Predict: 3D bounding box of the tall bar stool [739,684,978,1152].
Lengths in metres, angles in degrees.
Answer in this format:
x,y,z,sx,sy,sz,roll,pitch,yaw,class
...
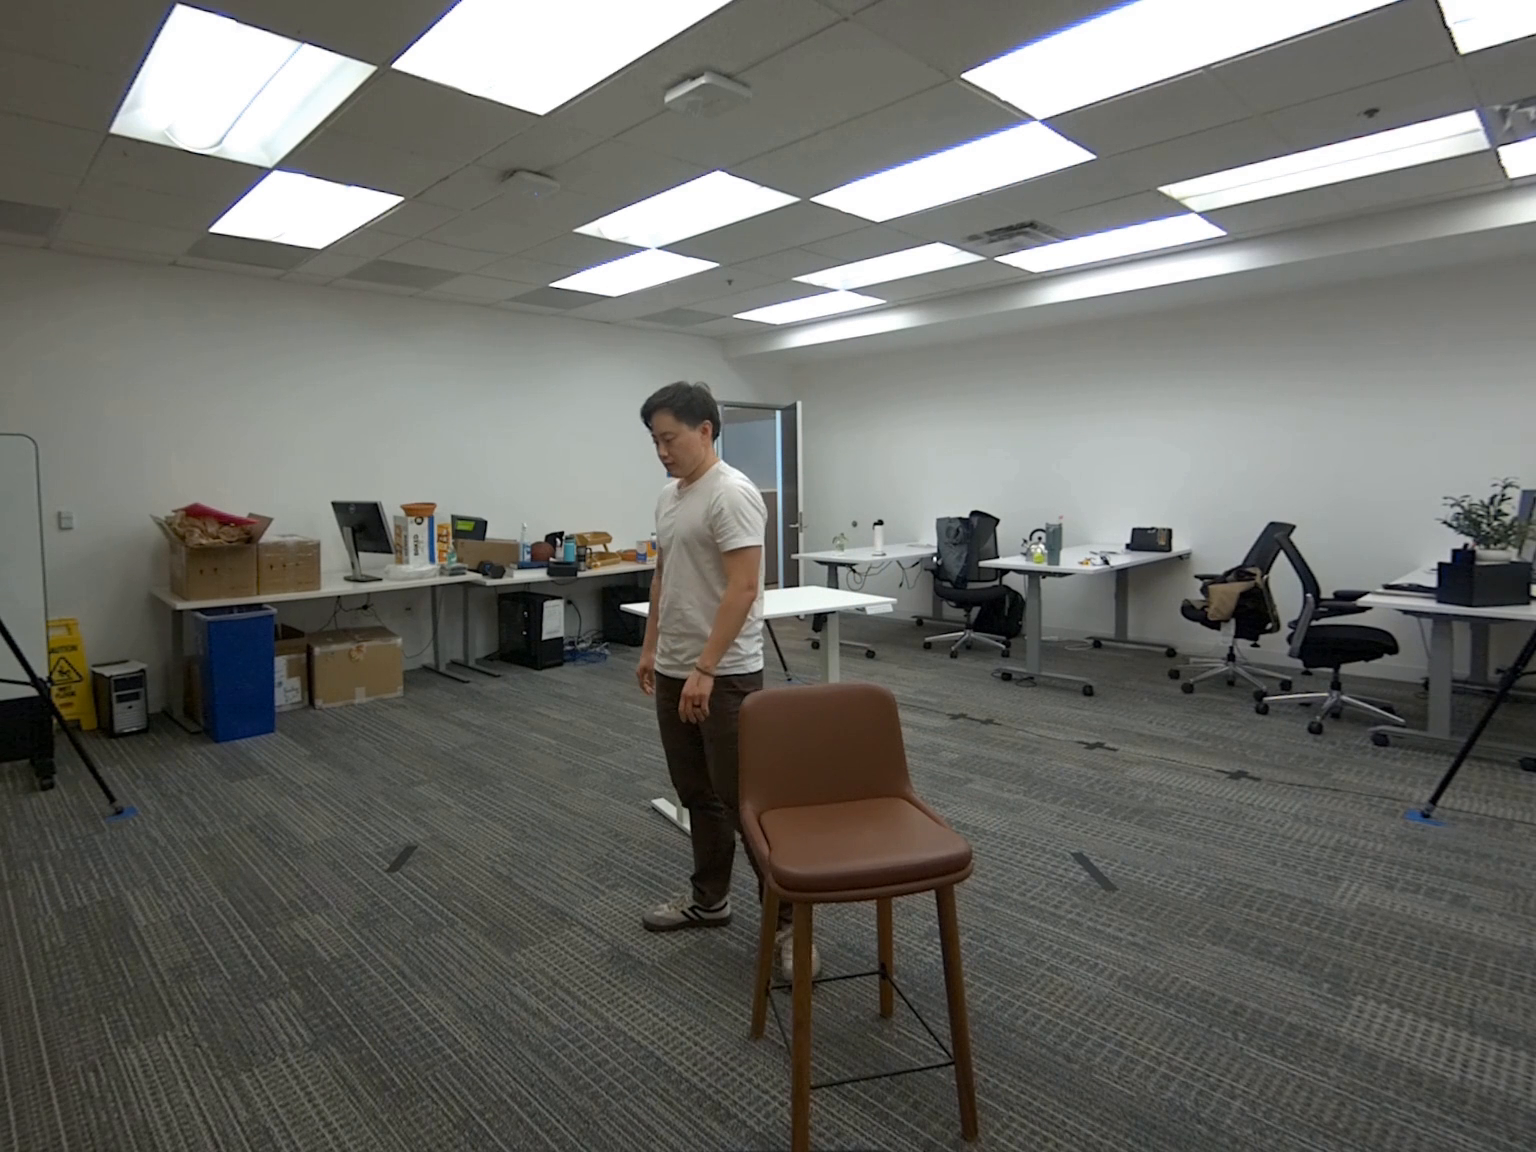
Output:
x,y,z,sx,sy,sz,roll,pitch,yaw,class
0.190,0.744,1.958,0.451,0.888,0.474,-2,2,-13,tall bar stool
